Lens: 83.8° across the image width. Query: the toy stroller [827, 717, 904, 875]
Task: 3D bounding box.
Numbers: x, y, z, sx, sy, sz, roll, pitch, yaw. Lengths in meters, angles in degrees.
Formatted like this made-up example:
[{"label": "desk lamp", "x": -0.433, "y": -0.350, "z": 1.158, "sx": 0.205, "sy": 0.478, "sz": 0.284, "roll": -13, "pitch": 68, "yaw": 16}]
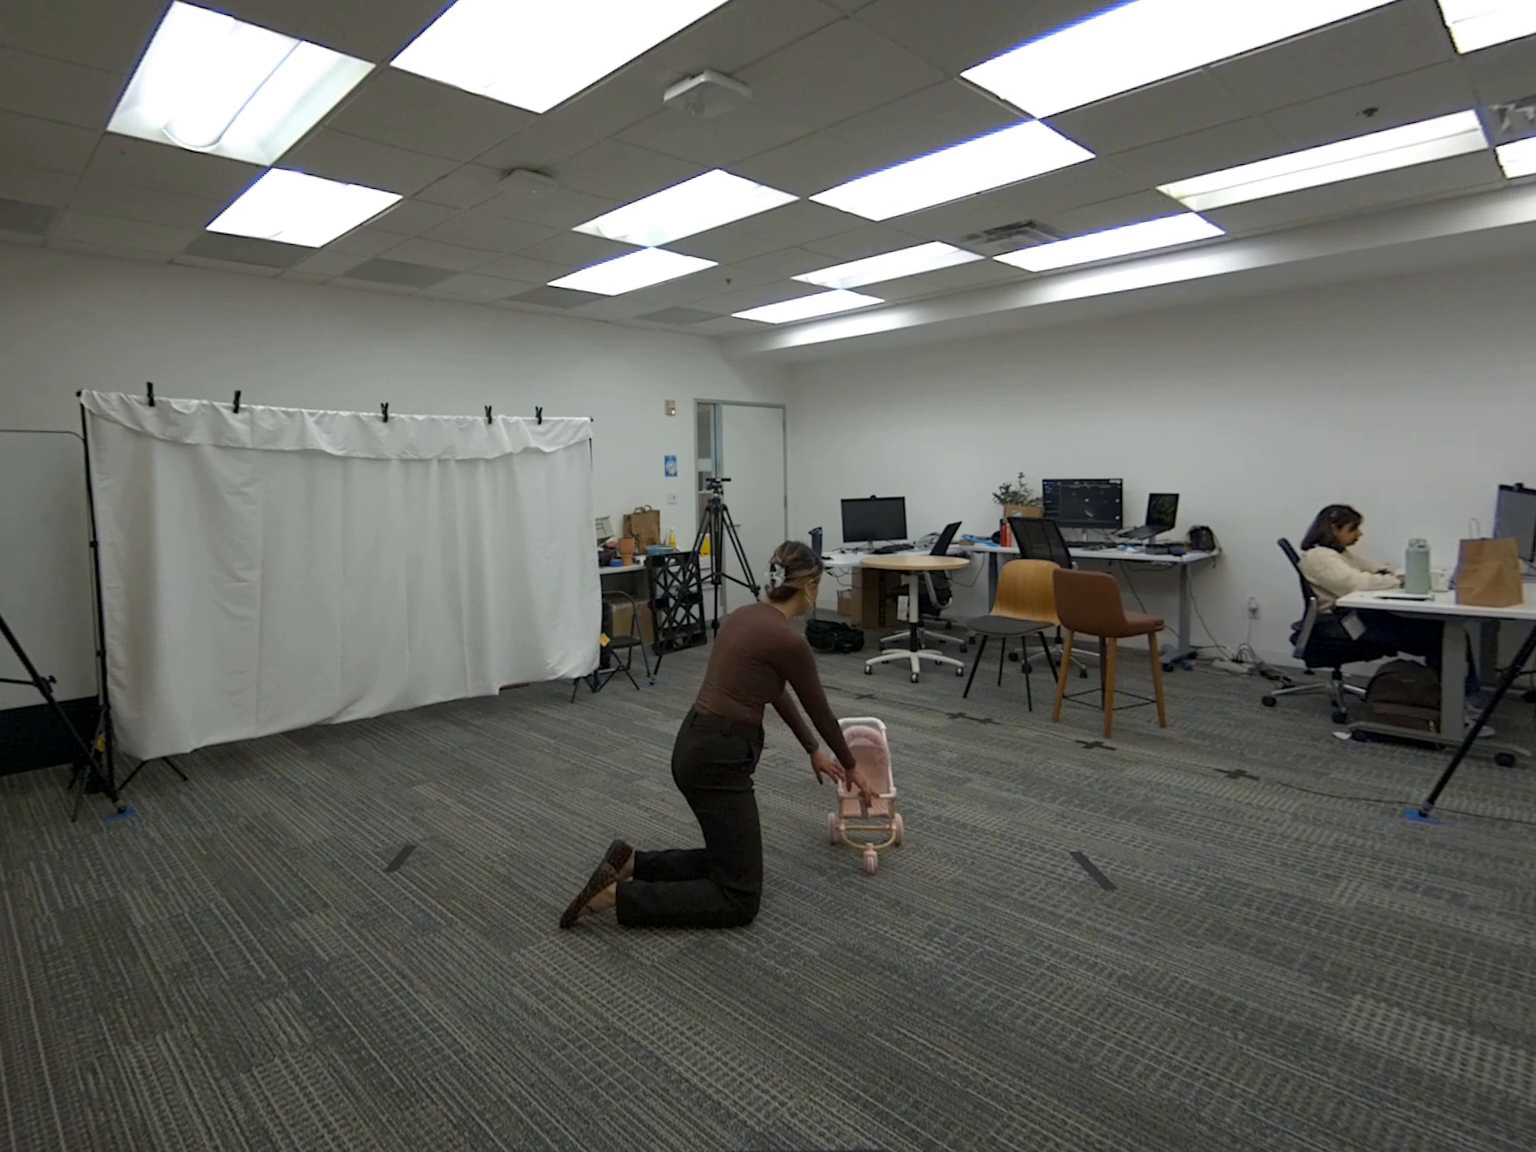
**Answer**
[{"label": "toy stroller", "x": 0.356, "y": 0.799, "z": 3.185, "sx": 0.283, "sy": 0.541, "sz": 0.335, "roll": -2, "pitch": -11, "yaw": 7}]
